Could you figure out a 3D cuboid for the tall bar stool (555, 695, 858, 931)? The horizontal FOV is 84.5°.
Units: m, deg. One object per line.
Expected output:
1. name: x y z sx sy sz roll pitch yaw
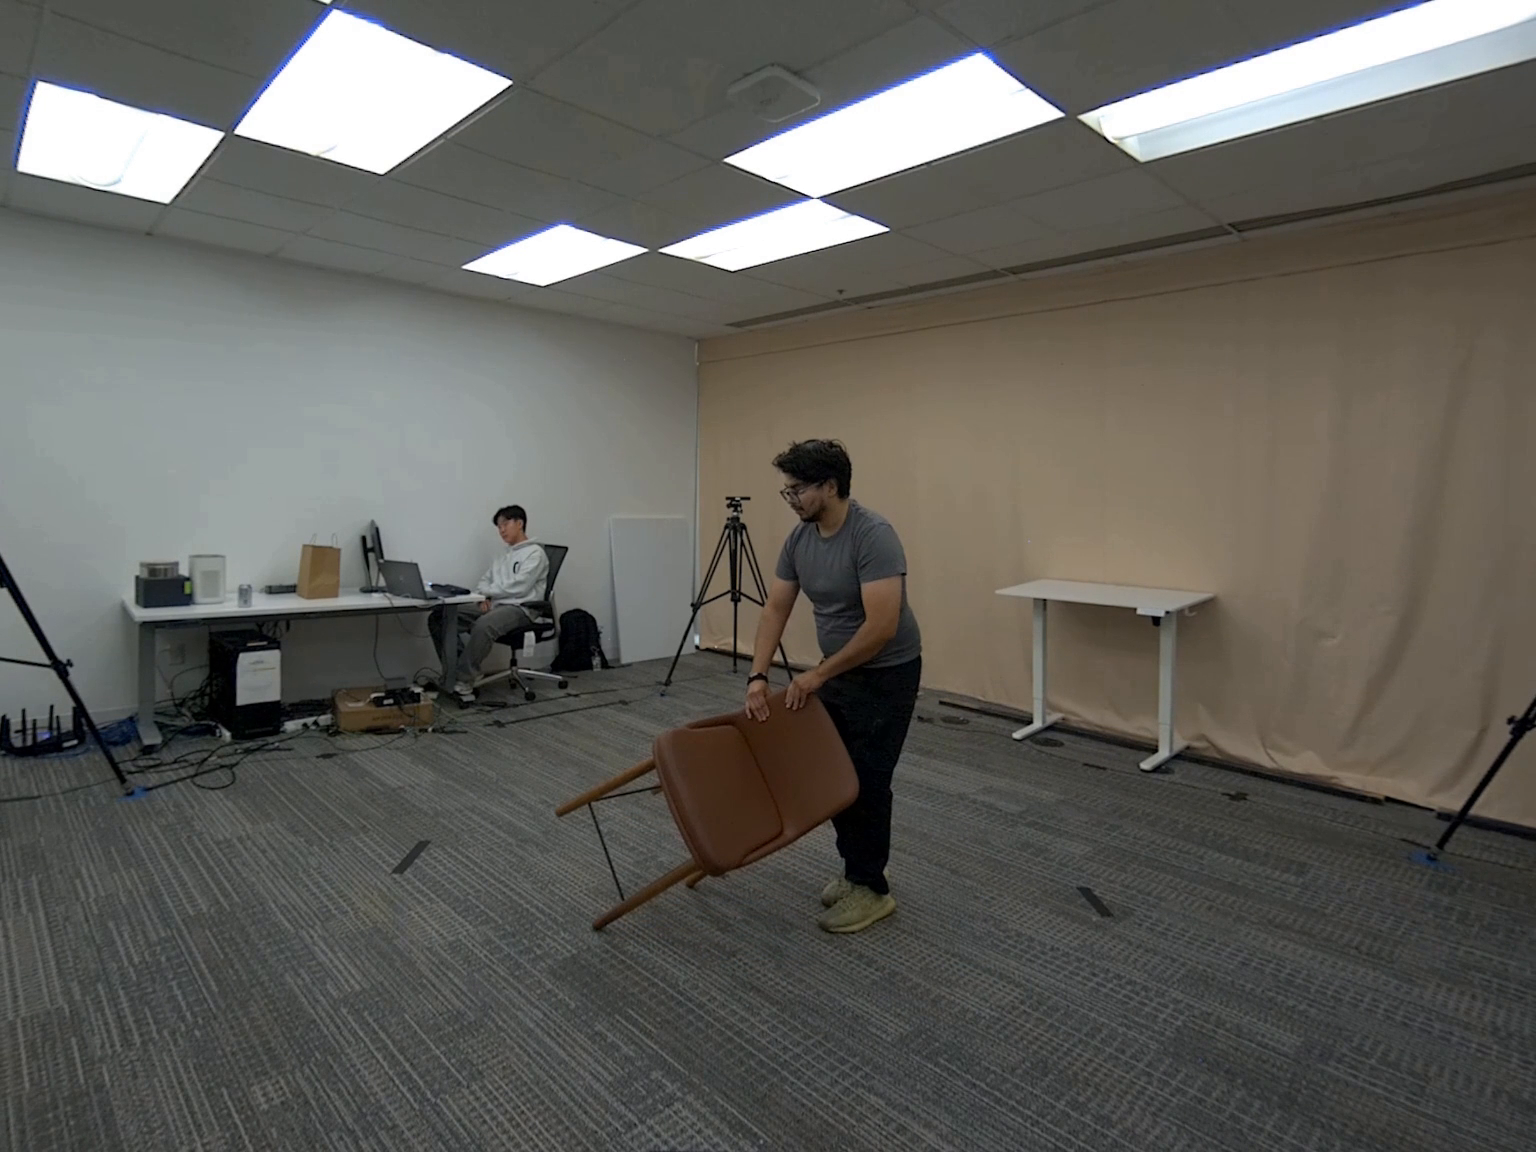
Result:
1. tall bar stool: -0.218 0.736 2.684 0.893 0.466 0.456 -39 -25 32
